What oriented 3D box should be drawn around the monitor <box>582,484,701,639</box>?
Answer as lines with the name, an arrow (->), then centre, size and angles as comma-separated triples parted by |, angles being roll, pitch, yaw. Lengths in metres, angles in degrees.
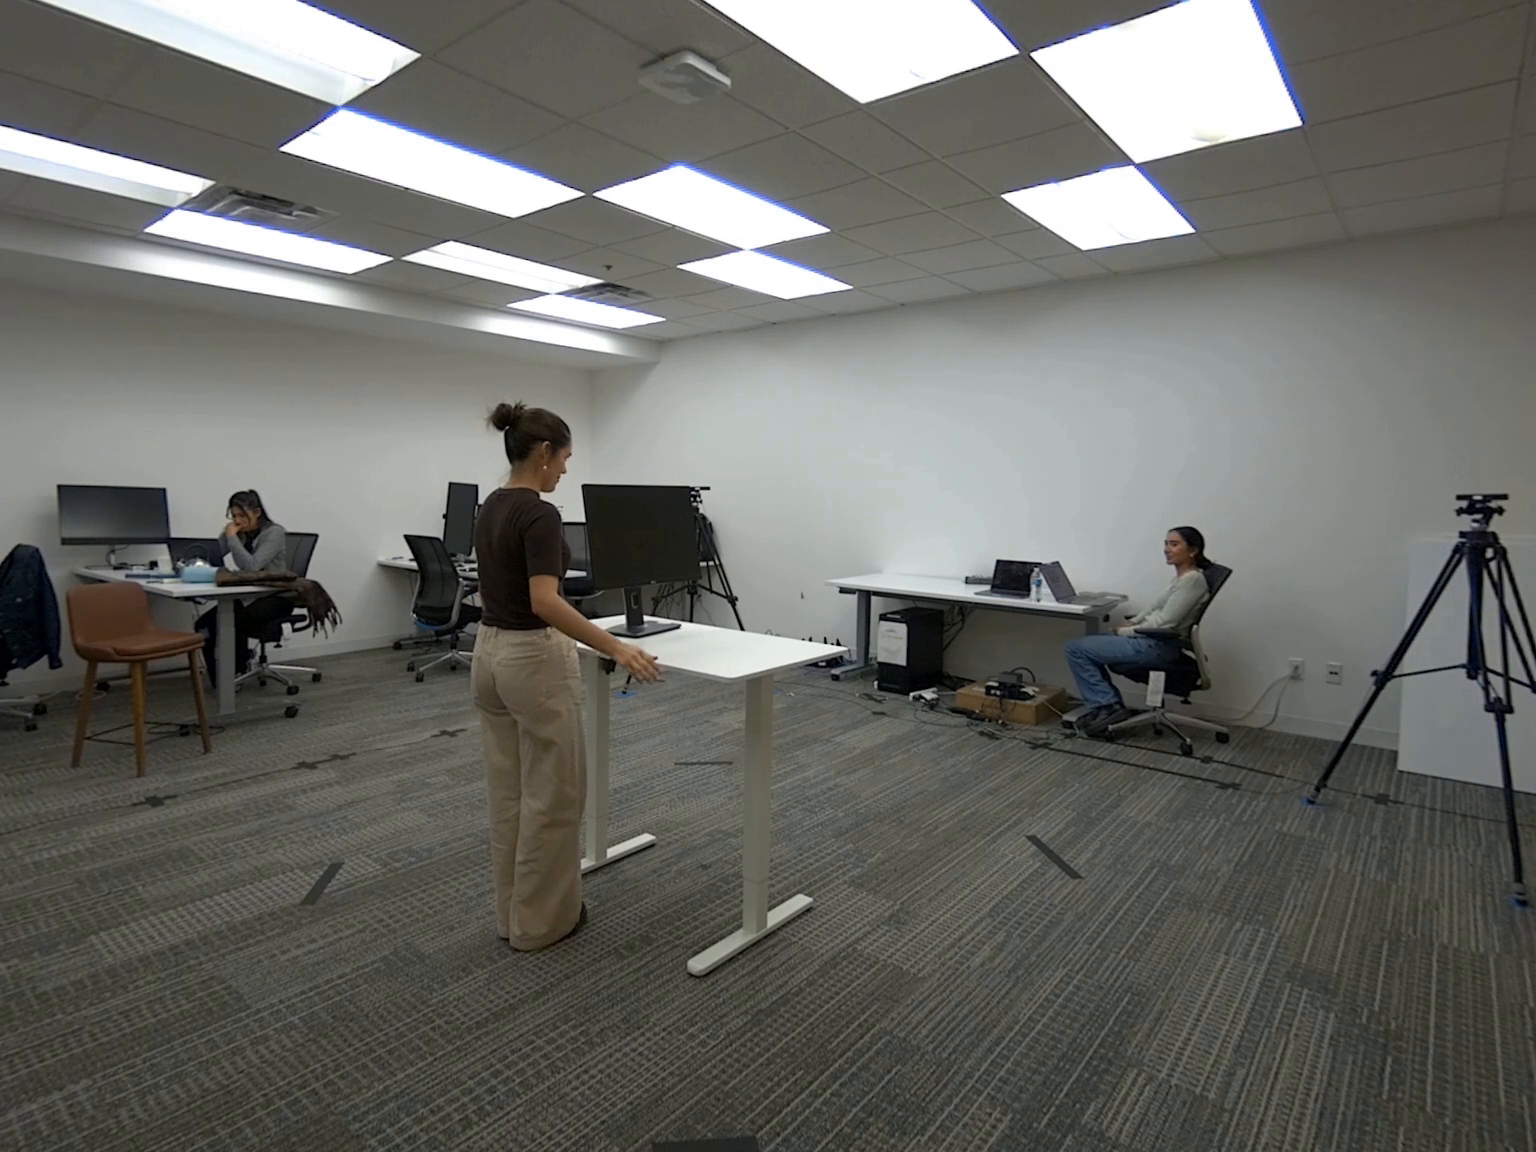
monitor -> -0.460, -0.060, 2.981 | 0.193, 0.520, 0.523 | 5, 6, 37
